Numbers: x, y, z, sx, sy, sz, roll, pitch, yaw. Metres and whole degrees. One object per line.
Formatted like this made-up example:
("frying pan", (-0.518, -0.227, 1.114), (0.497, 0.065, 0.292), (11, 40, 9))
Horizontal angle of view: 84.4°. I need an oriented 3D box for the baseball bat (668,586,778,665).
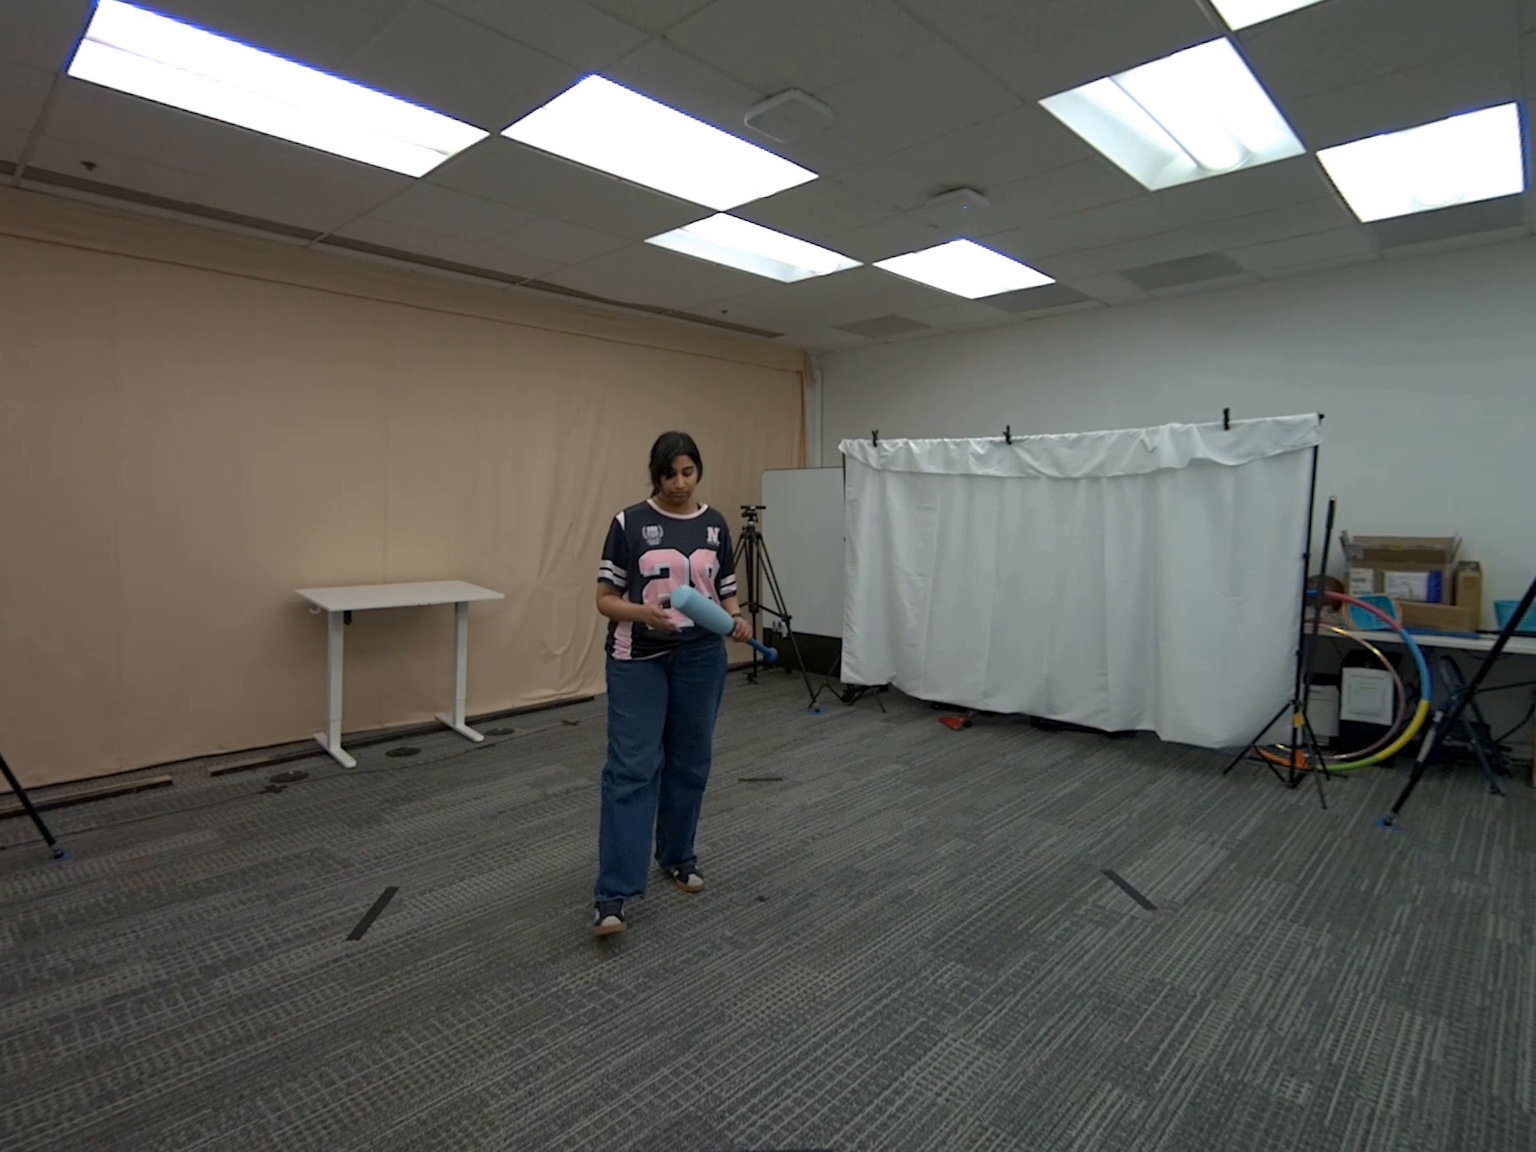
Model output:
("baseball bat", (-0.134, 0.173, 2.823), (0.092, 0.089, 0.523), (3, -23, 44))
